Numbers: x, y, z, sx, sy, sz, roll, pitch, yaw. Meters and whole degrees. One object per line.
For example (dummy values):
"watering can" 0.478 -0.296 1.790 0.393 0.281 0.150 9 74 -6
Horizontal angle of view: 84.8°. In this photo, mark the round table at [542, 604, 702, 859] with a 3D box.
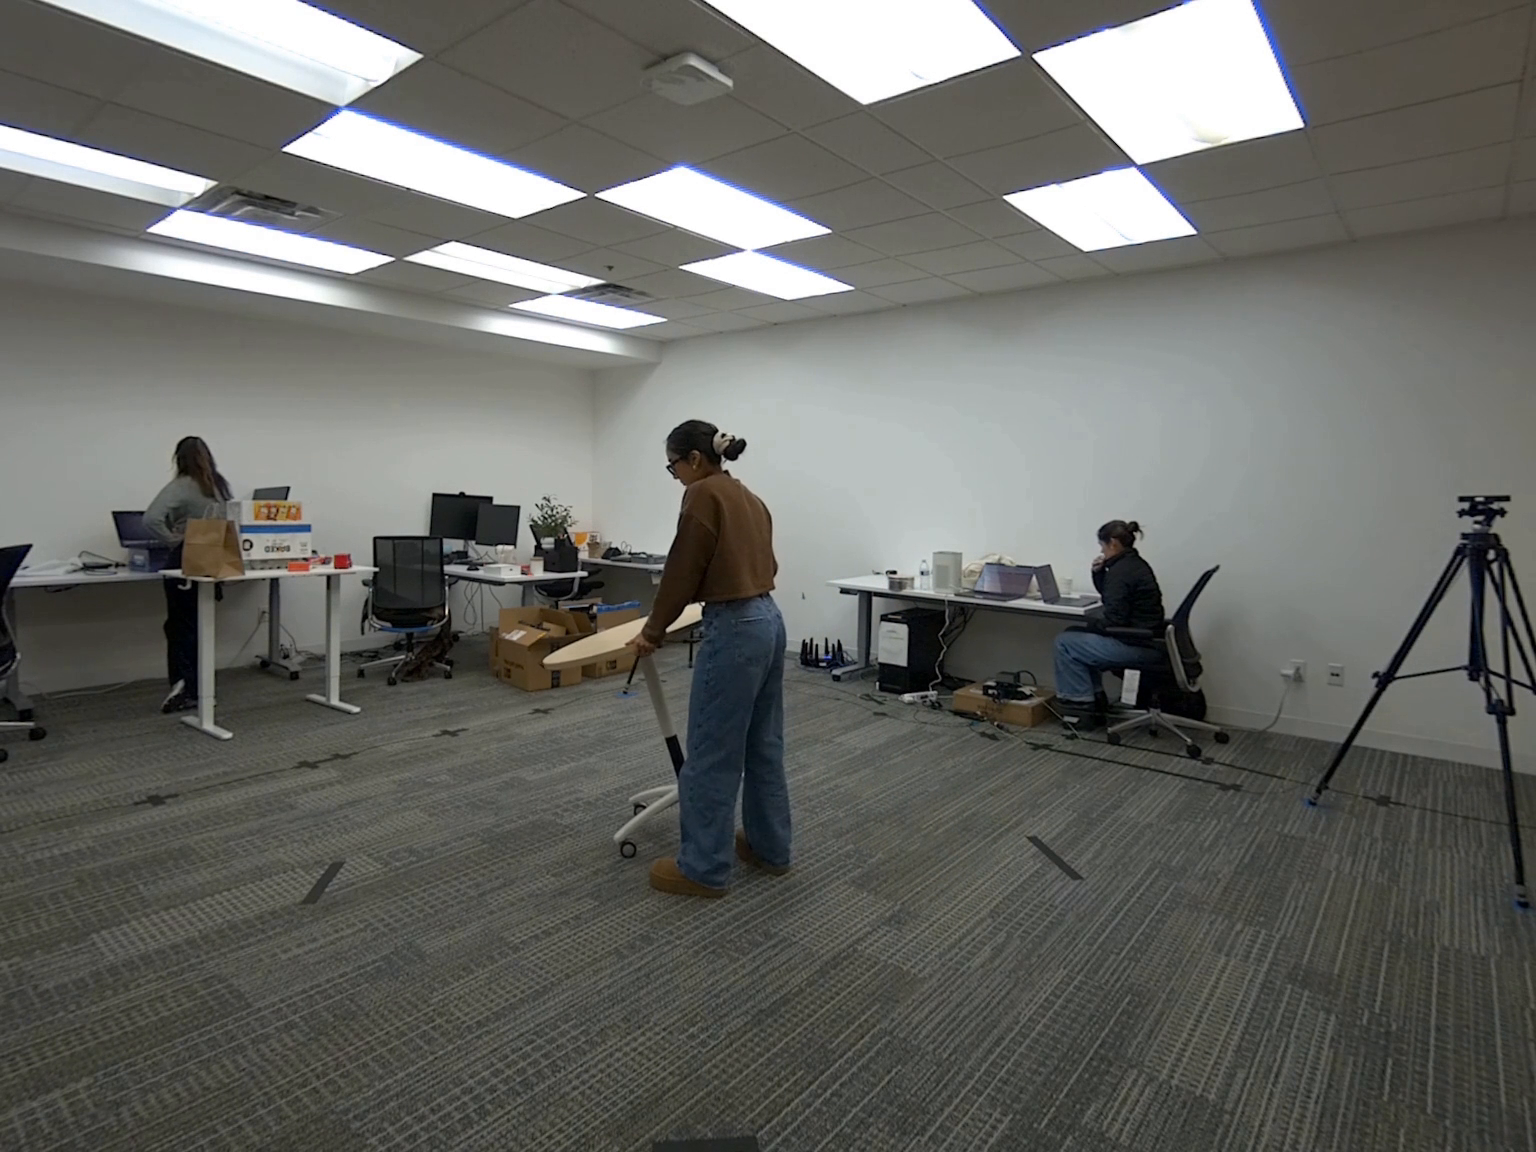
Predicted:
"round table" -0.410 0.587 3.374 0.764 0.792 0.767 -17 3 -1
